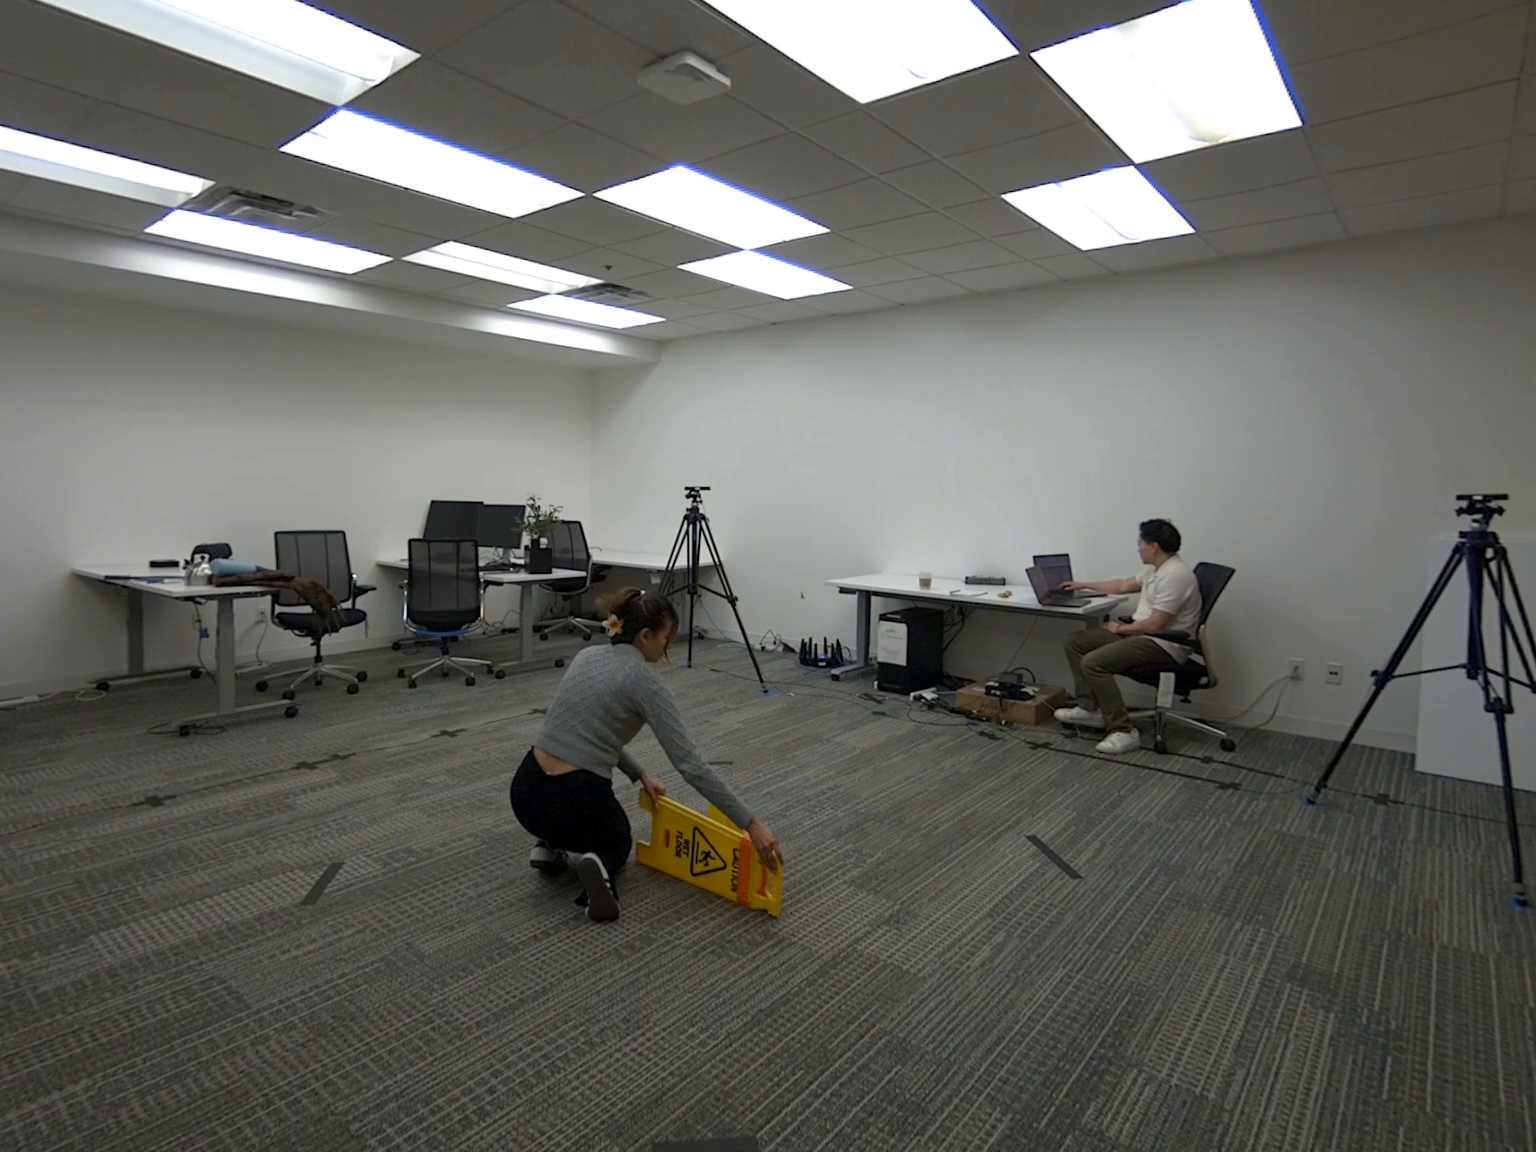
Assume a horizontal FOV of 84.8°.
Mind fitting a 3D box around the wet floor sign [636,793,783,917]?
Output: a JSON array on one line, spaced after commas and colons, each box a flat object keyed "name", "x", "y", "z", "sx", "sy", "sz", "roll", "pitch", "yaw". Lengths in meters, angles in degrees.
[{"name": "wet floor sign", "x": -0.175, "y": 0.957, "z": 2.988, "sx": 0.281, "sy": 0.280, "sz": 0.669, "roll": -3, "pitch": 9, "yaw": -38}]
